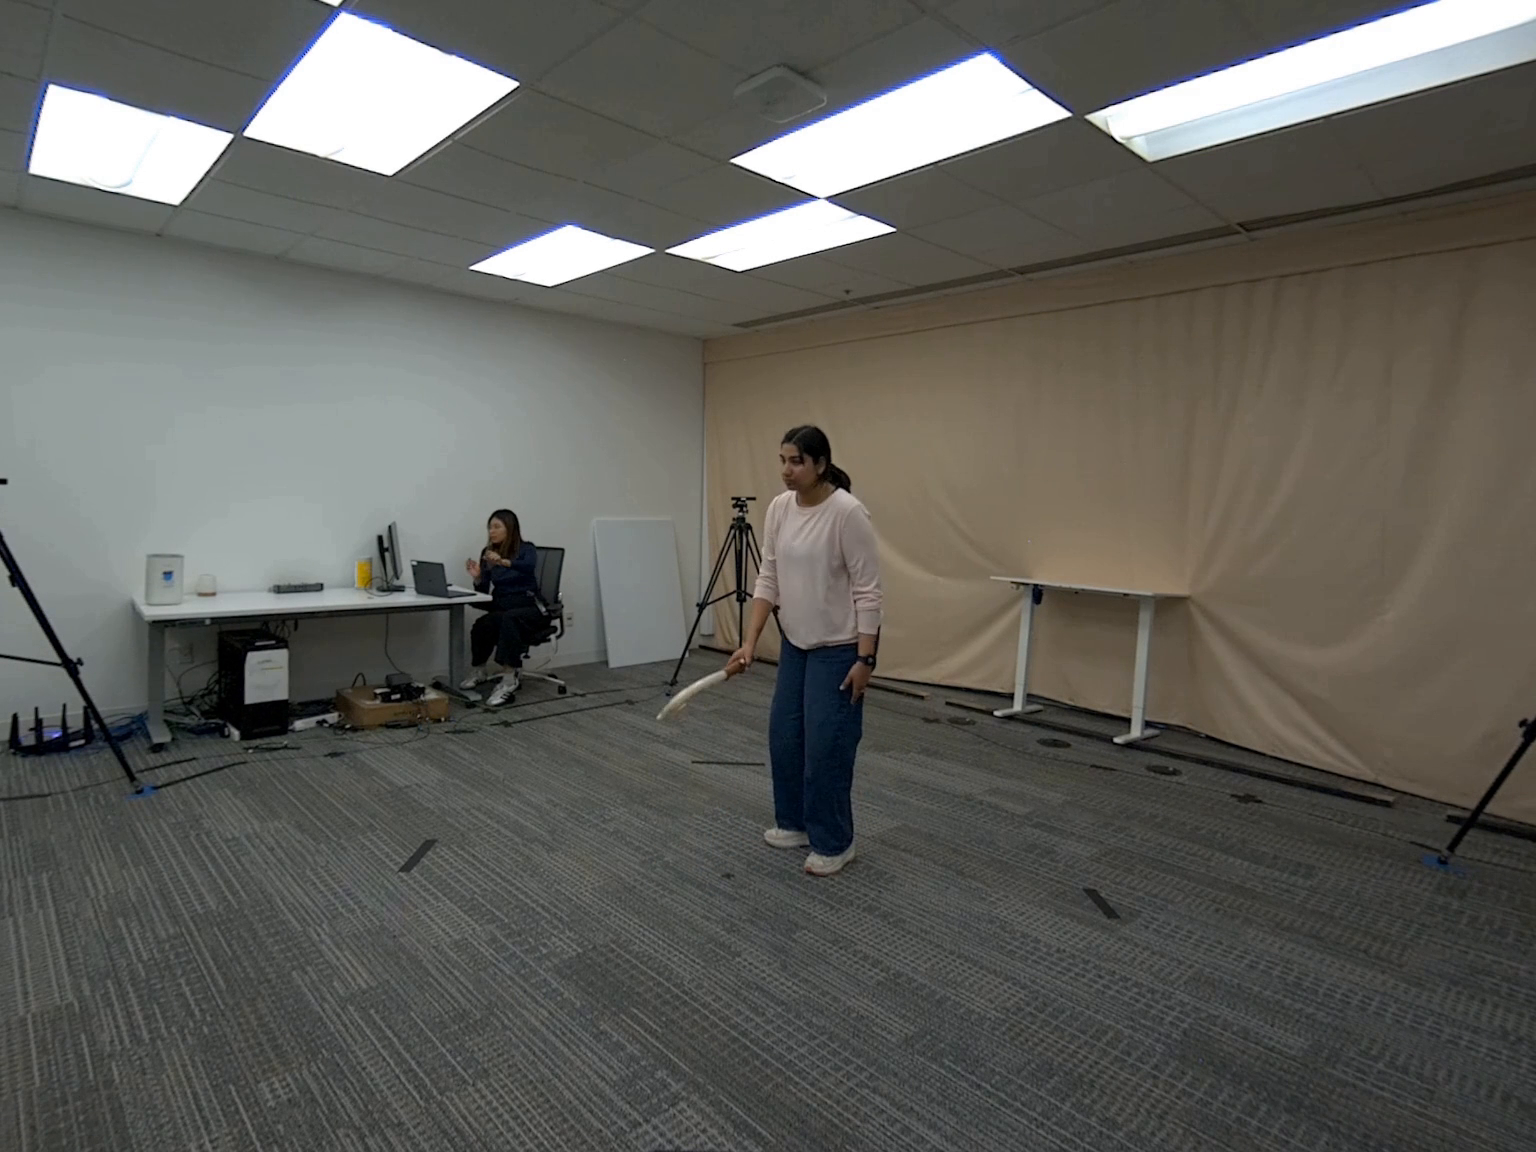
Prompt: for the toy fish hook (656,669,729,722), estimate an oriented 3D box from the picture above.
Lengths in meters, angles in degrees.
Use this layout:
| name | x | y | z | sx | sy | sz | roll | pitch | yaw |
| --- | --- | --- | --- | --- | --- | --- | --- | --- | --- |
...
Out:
| name | x | y | z | sx | sy | sz | roll | pitch | yaw |
| --- | --- | --- | --- | --- | --- | --- | --- | --- | --- |
| toy fish hook | -0.232 | 0.408 | 3.042 | 0.225 | 0.049 | 0.500 | -39 | -9 | 33 |
